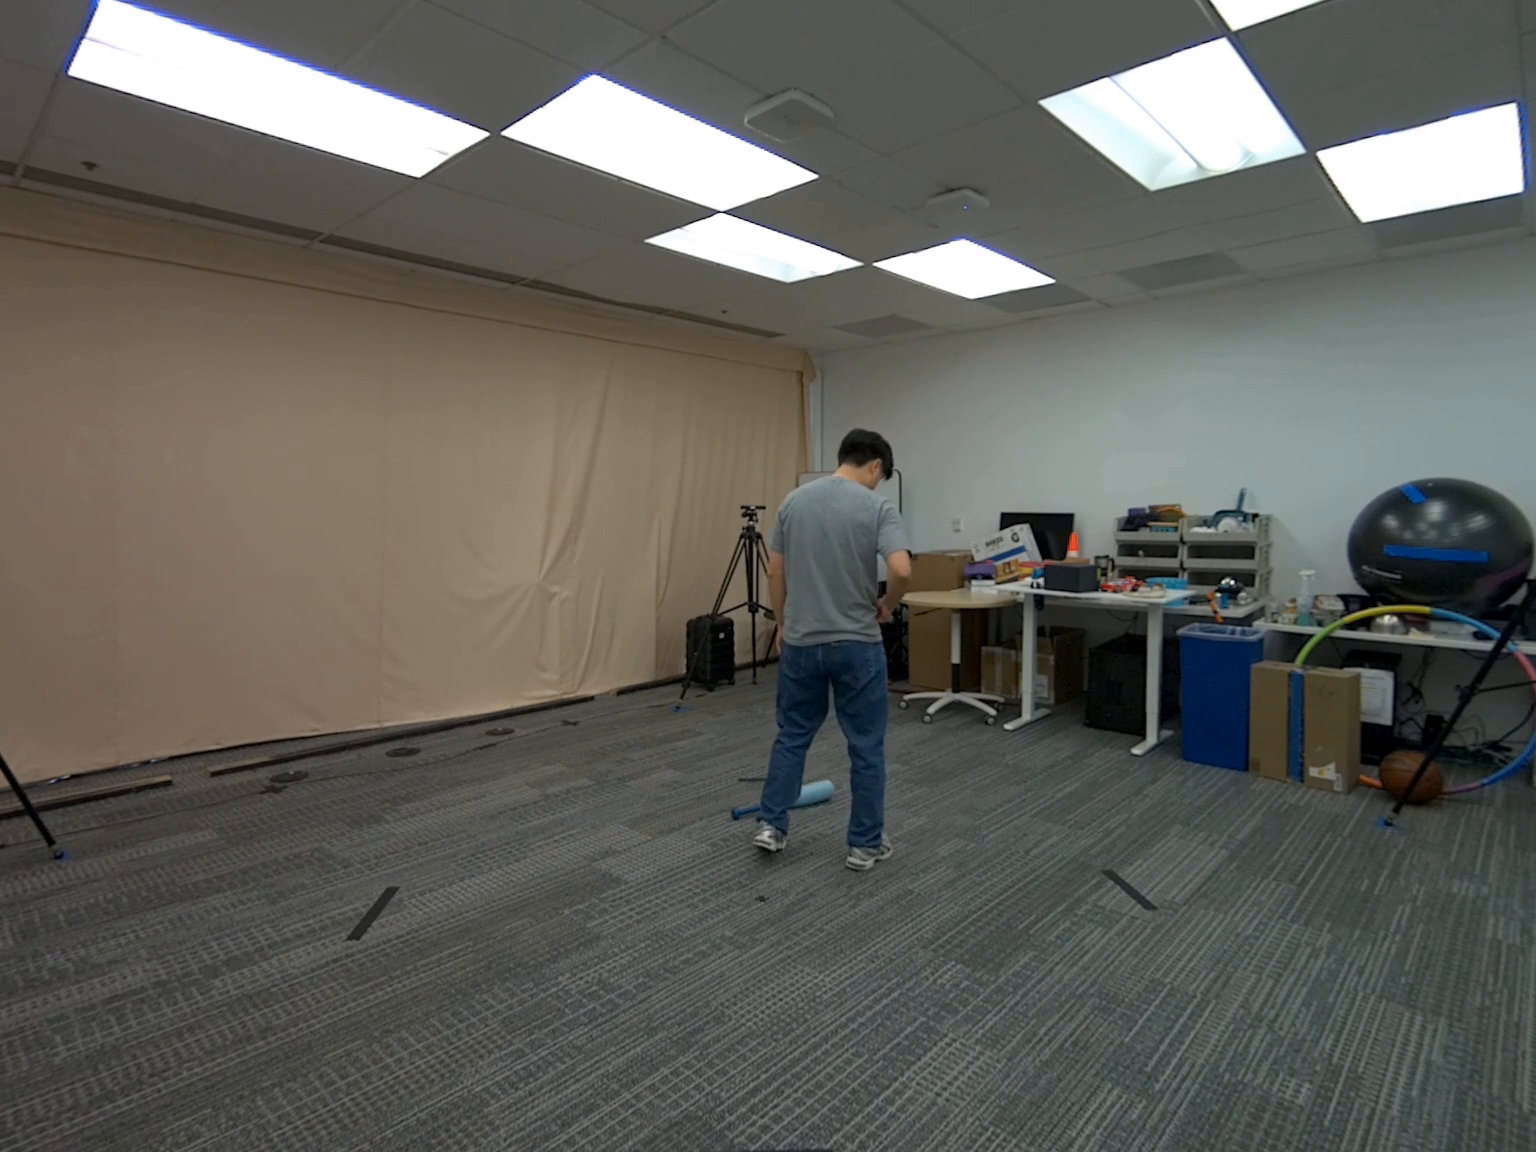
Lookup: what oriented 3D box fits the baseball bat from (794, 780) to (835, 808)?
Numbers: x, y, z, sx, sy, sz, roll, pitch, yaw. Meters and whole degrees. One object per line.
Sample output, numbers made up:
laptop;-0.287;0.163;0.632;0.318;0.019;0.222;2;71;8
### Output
baseball bat;0.074;1.037;3.869;0.529;0.089;0.091;-6;6;-29
